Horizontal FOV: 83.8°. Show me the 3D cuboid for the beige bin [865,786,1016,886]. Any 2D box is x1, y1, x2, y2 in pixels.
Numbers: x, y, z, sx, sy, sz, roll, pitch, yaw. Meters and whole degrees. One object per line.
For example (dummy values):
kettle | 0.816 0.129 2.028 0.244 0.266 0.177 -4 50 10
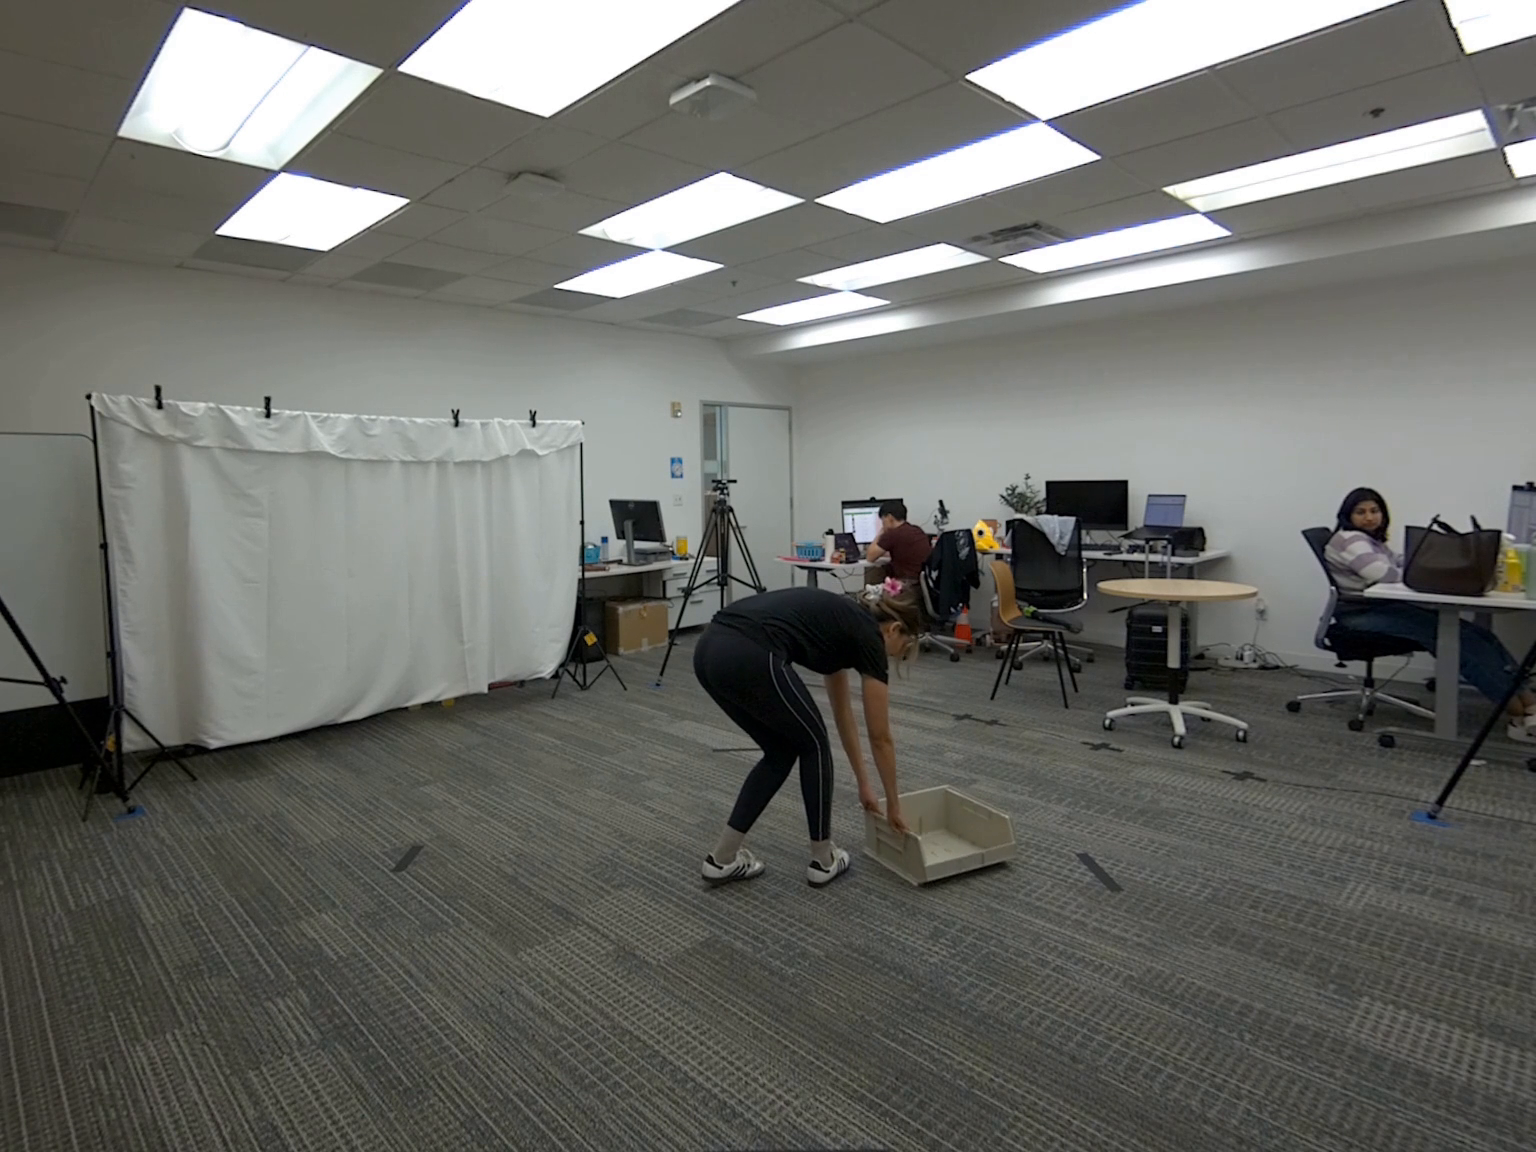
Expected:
beige bin | 0.620 0.943 3.126 0.413 0.188 0.387 -5 6 -28
